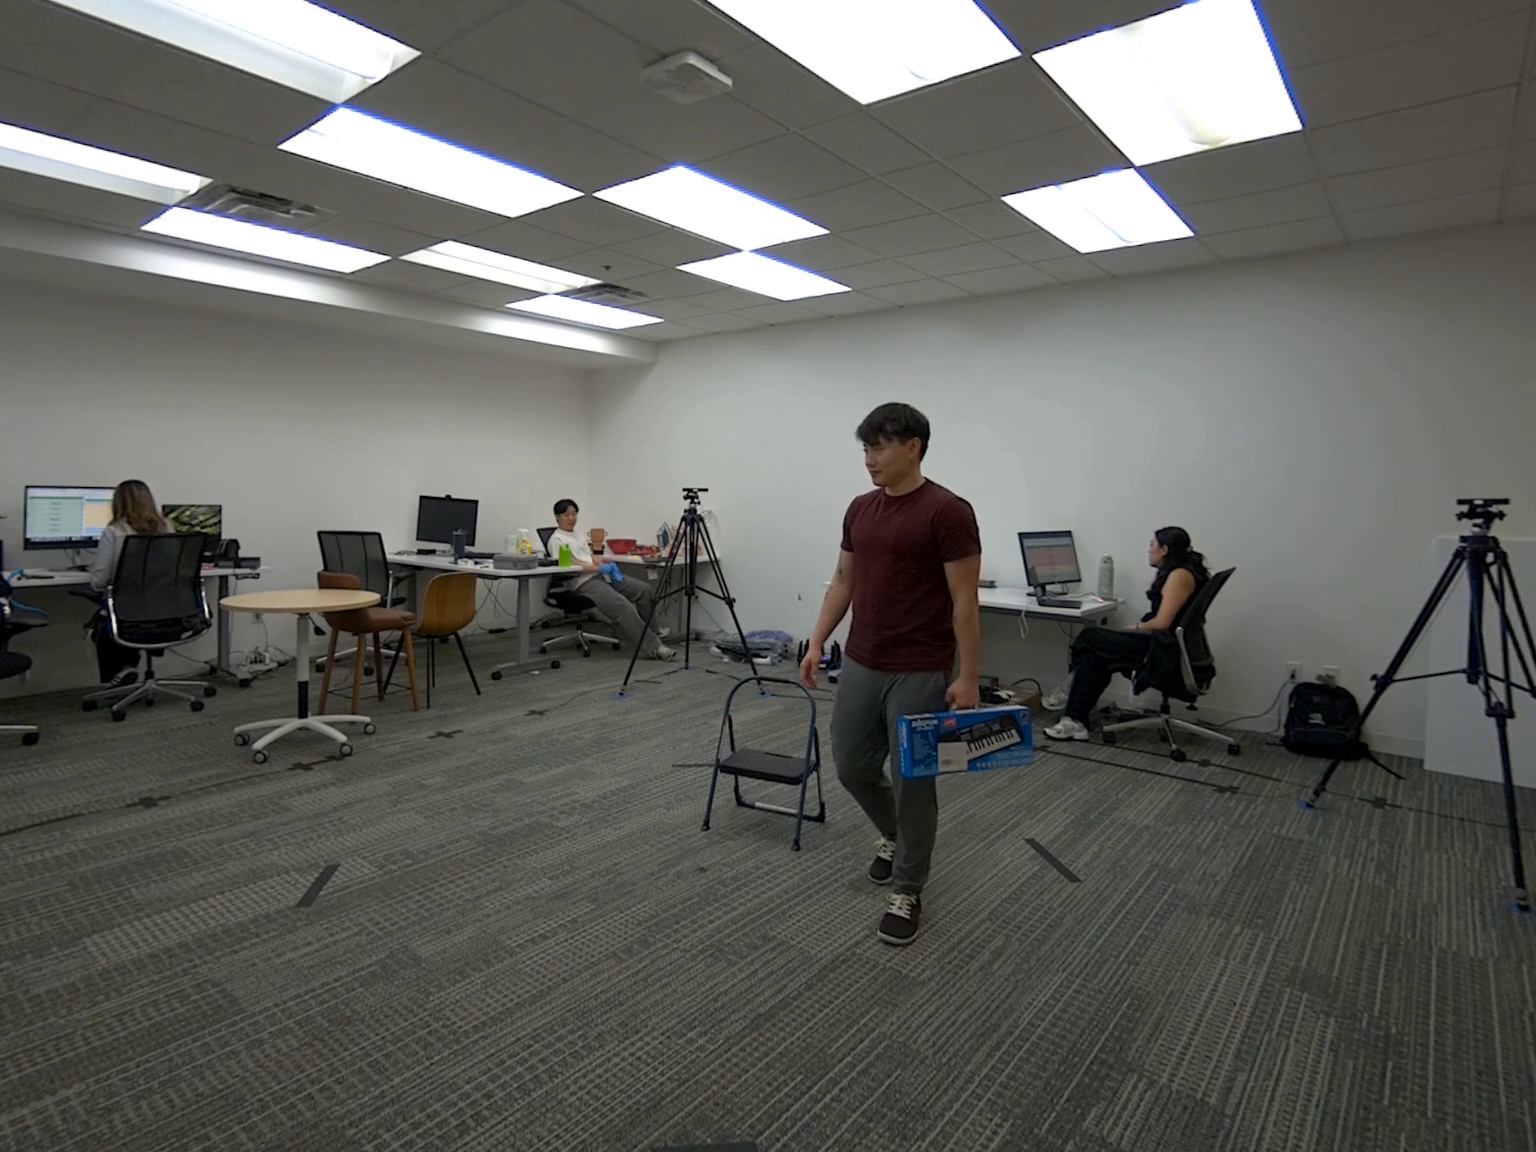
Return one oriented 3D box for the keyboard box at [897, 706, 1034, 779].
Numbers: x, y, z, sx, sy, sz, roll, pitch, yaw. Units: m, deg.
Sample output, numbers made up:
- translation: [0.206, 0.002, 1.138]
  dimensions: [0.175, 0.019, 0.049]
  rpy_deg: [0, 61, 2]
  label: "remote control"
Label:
- translation: [0.590, 0.490, 2.574]
  dimensions: [0.428, 0.176, 0.060]
  rpy_deg: [-3, -3, -21]
  label: "keyboard box"
